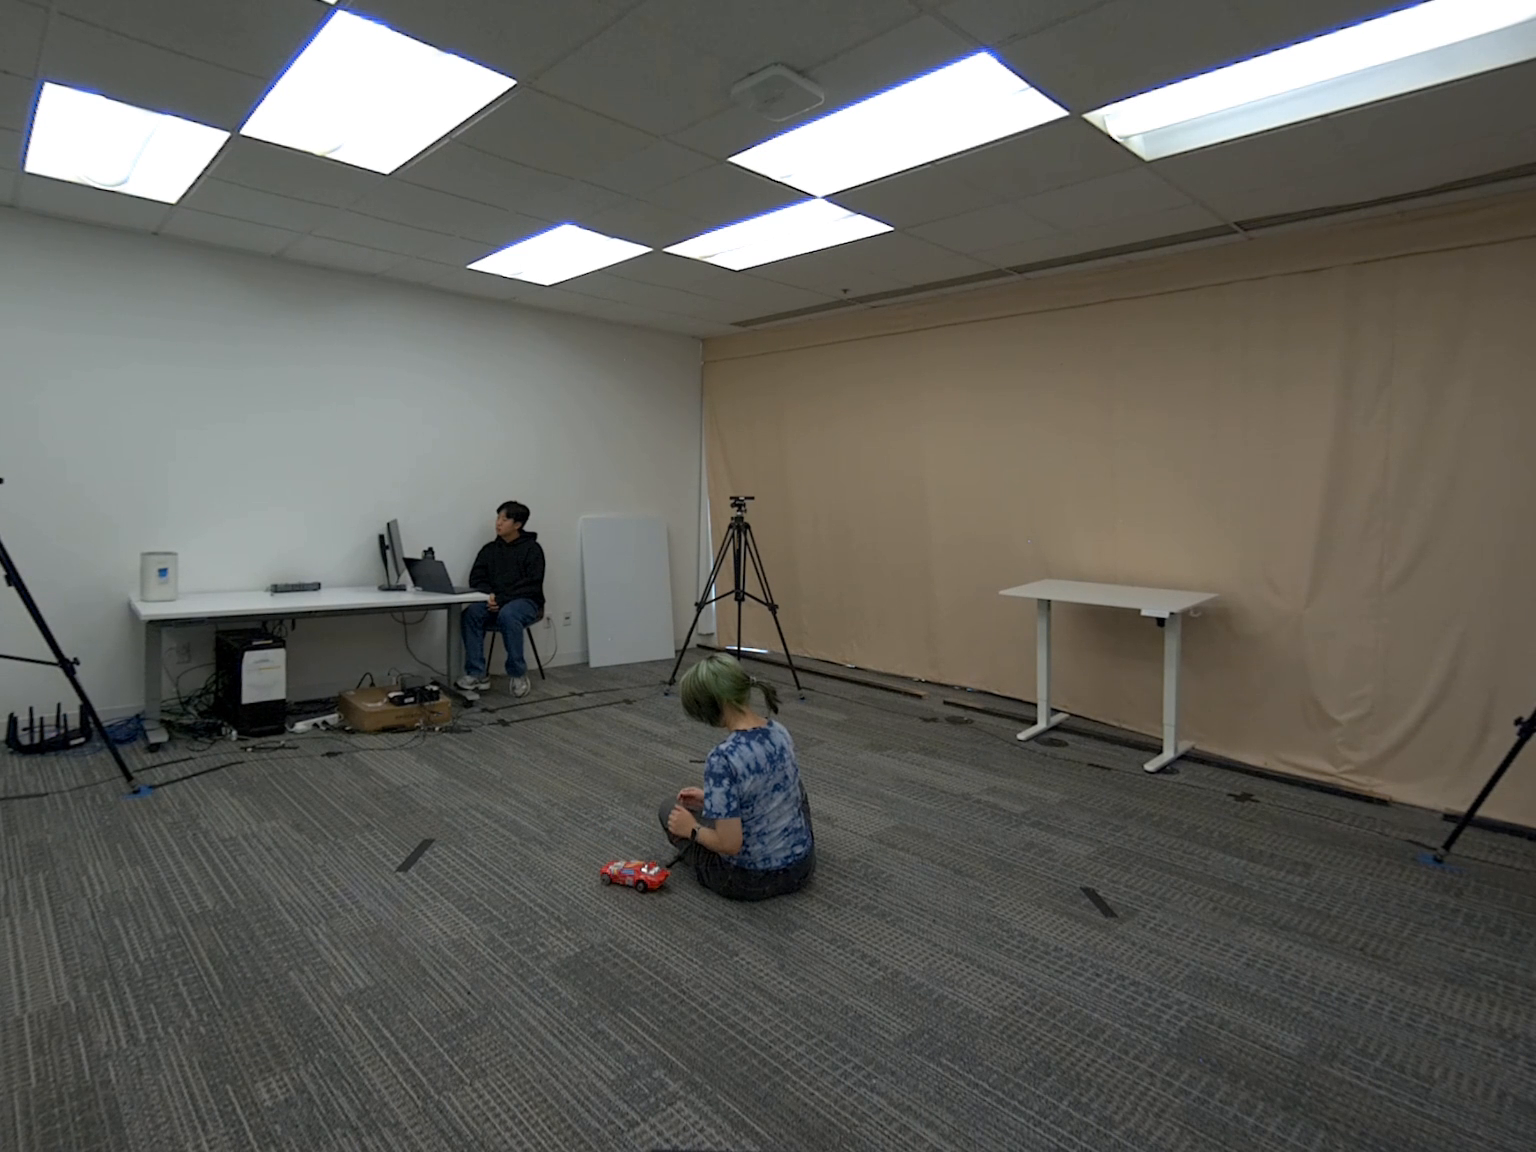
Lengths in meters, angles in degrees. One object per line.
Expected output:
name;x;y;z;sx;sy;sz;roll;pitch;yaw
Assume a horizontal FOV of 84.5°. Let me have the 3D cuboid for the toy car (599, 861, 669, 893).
toy car;-0.478;1.066;3.010;0.258;0.083;0.128;-8;0;24
